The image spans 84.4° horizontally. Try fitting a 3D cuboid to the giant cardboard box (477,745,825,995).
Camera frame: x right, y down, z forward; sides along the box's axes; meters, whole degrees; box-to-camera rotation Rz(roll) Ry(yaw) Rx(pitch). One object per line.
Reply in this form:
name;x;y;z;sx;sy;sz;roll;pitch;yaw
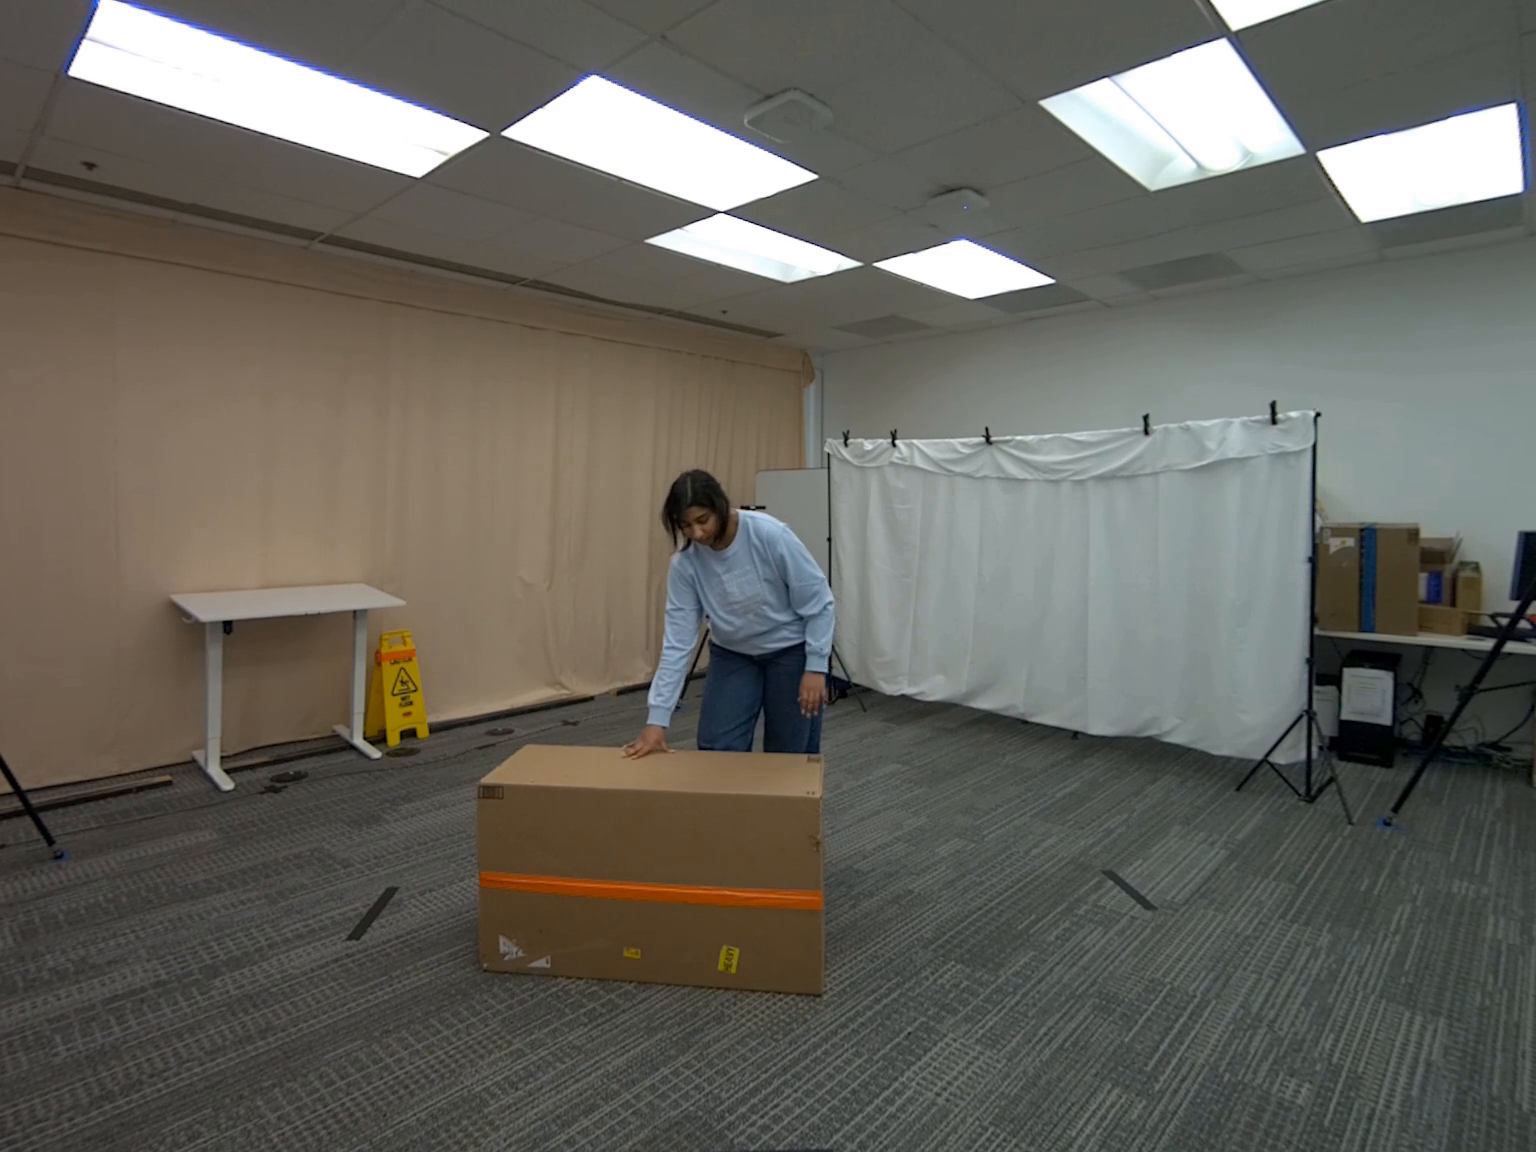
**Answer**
giant cardboard box;-0.346;0.884;2.642;1.035;0.576;0.423;1;4;7
